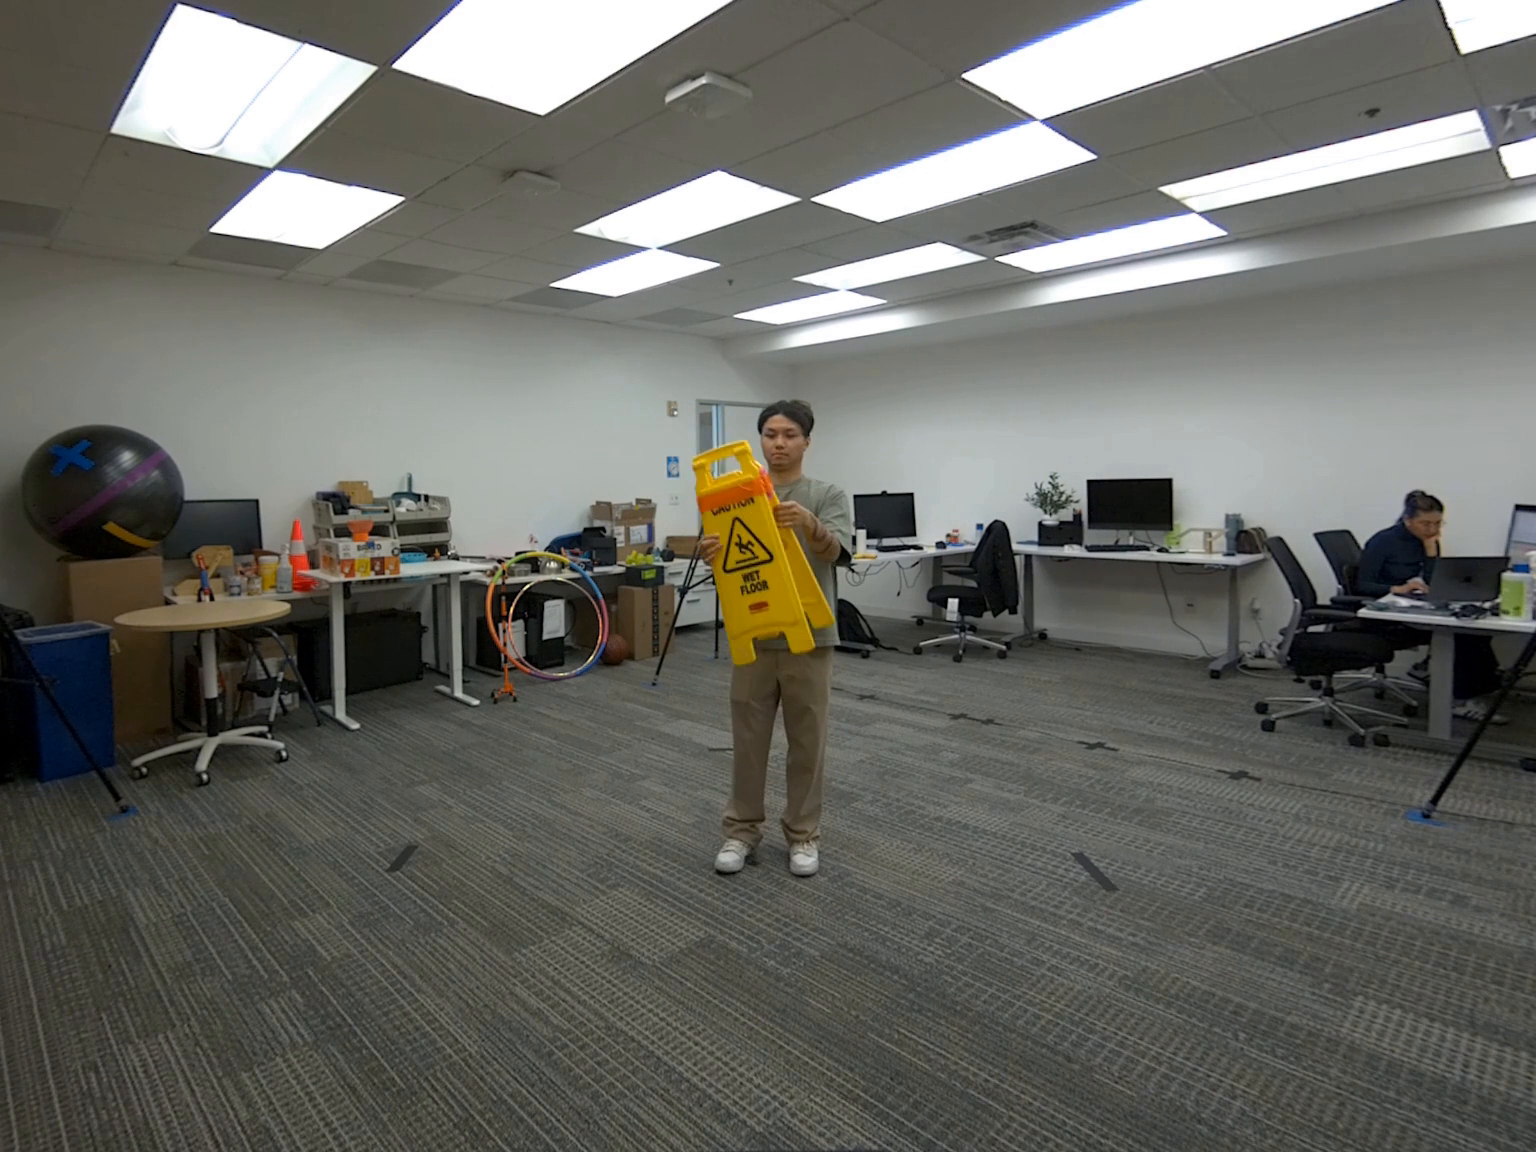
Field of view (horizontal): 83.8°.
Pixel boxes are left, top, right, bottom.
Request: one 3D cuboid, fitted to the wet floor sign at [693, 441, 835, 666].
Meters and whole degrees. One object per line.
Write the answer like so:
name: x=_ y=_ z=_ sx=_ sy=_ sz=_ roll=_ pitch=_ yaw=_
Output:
wet floor sign: x=-0.049 y=-0.081 z=2.657 sx=0.287 sy=0.642 sz=0.287 roll=-15 pitch=7 yaw=26
